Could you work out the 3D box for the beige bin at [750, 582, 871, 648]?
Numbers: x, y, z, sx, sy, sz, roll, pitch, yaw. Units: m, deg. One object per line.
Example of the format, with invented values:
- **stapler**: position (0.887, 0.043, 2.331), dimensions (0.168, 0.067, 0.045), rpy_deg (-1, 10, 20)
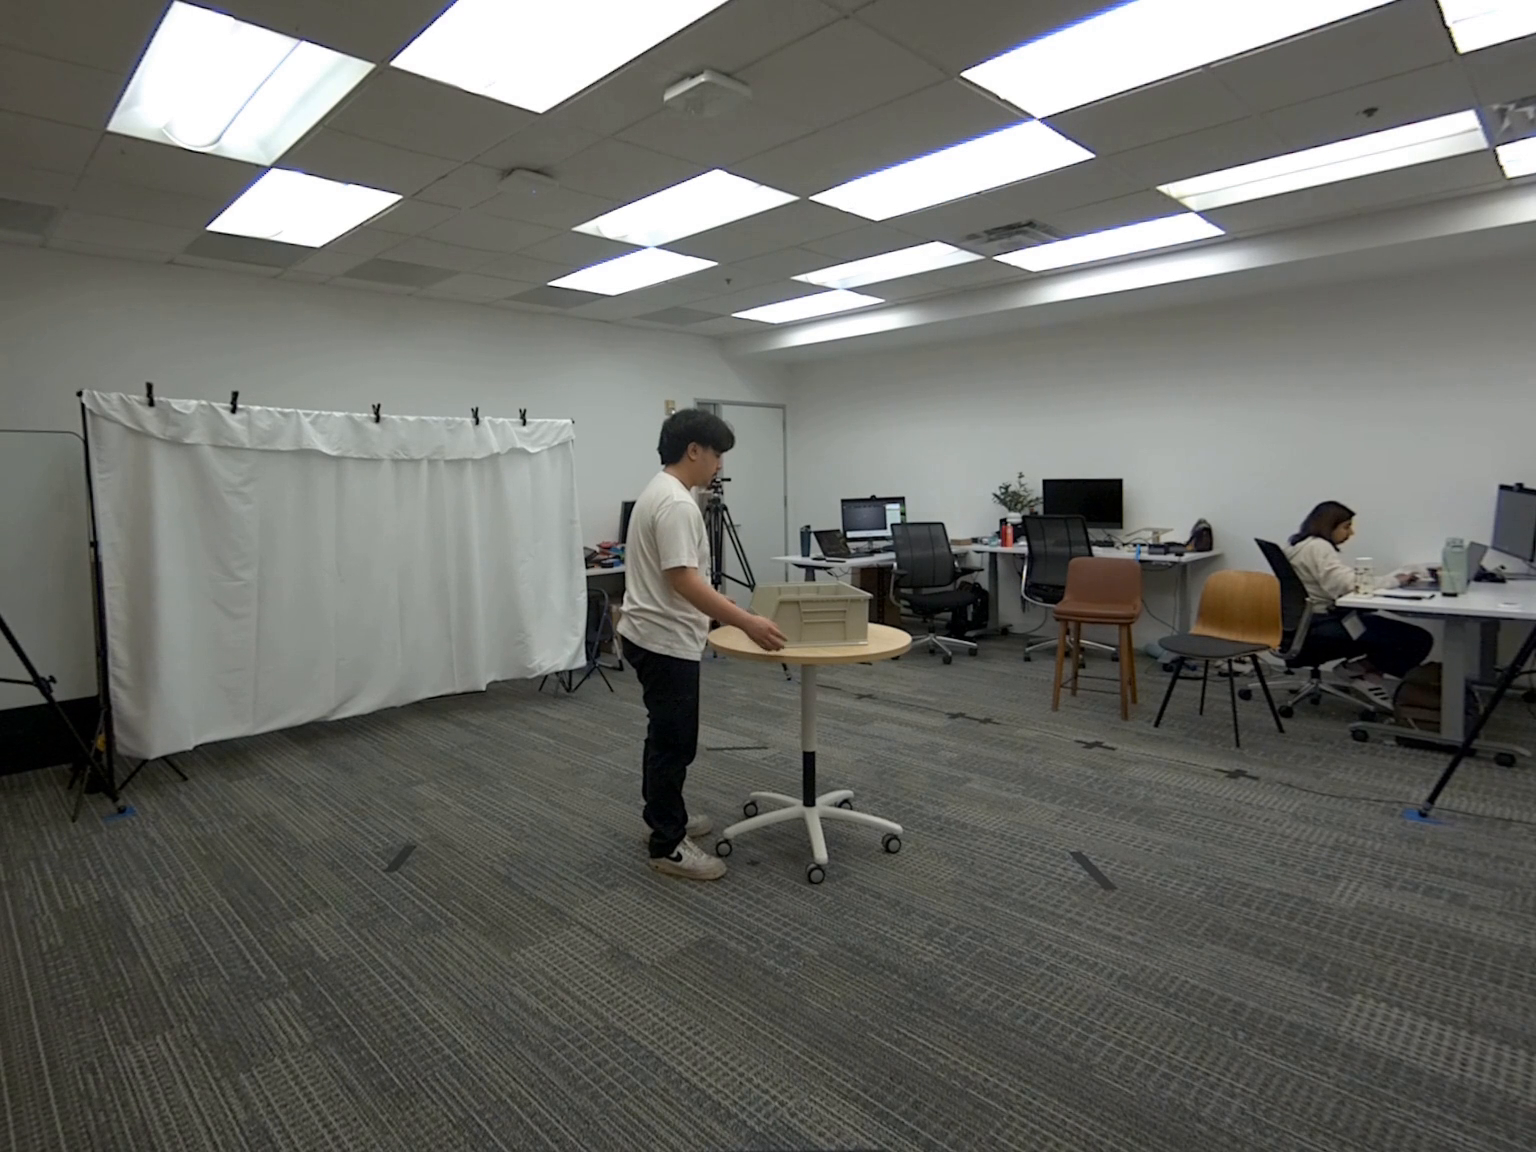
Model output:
- **beige bin**: position (0.149, 0.140, 3.218), dimensions (0.374, 0.188, 0.427), rpy_deg (-1, 5, -9)
